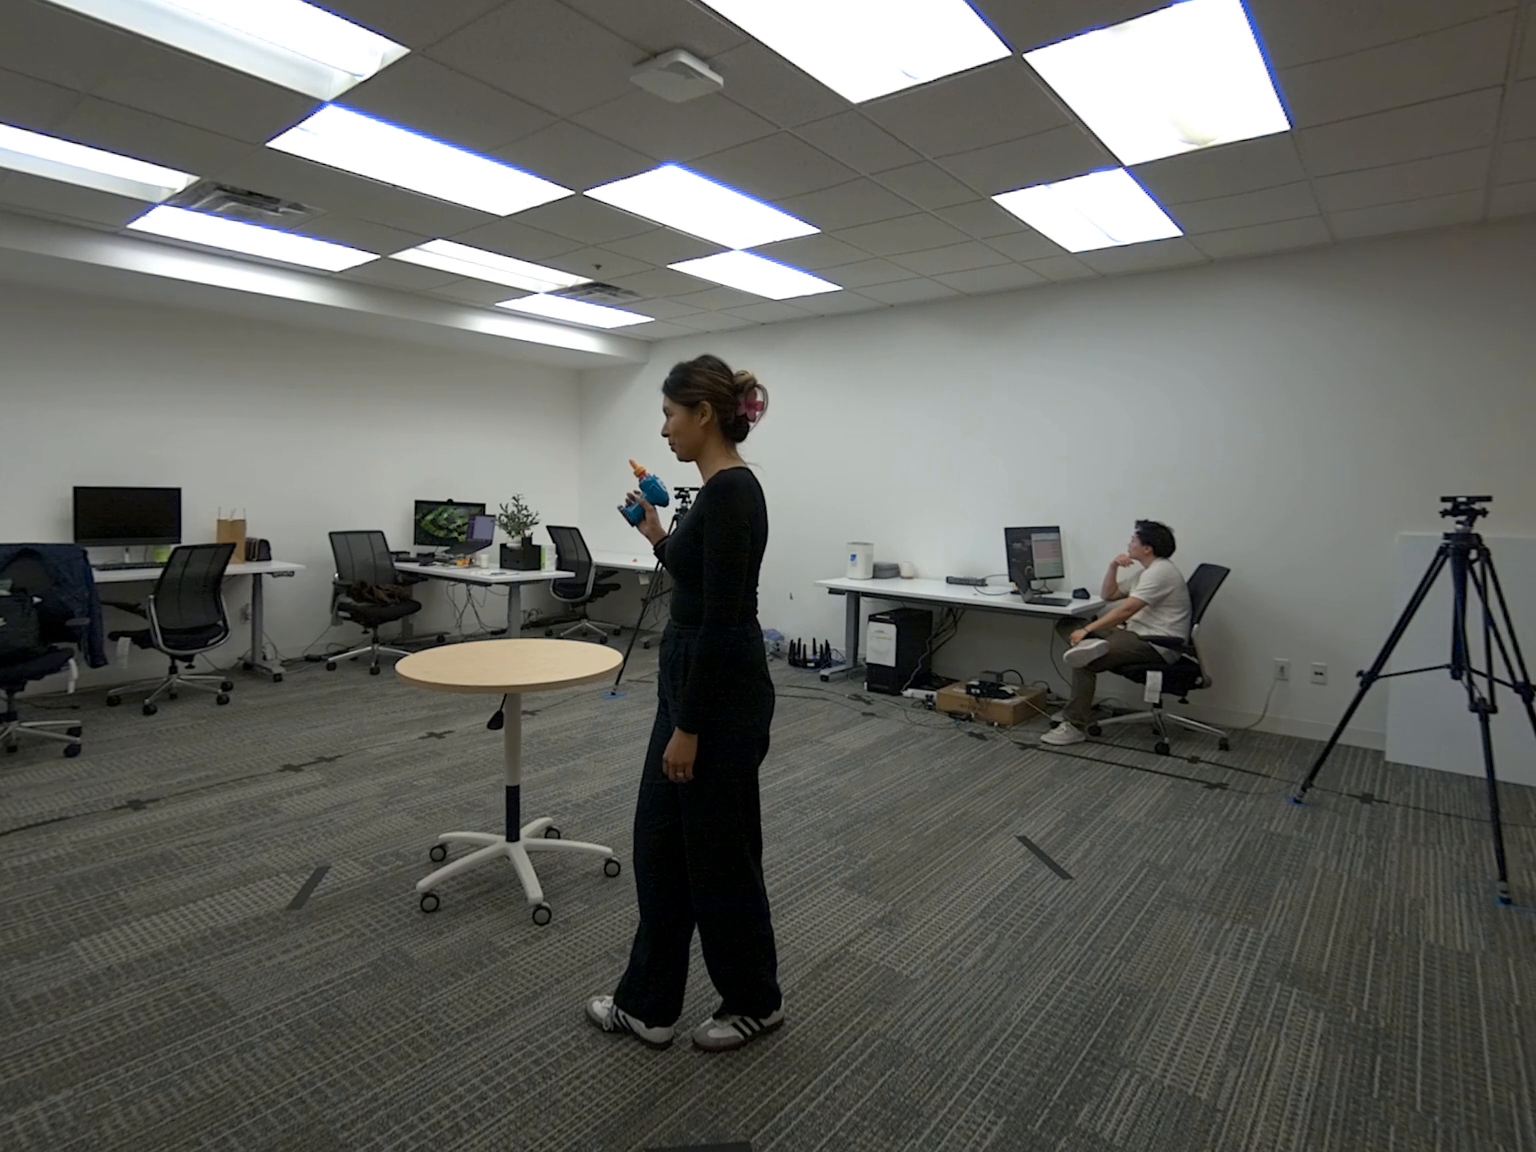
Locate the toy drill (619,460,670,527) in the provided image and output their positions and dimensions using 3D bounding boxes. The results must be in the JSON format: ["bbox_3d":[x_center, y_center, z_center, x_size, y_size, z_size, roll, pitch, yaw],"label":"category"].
[{"bbox_3d":[-0.375,-0.240,2.379,0.146,0.171,0.061,-37,-3,-7],"label":"toy drill"}]
